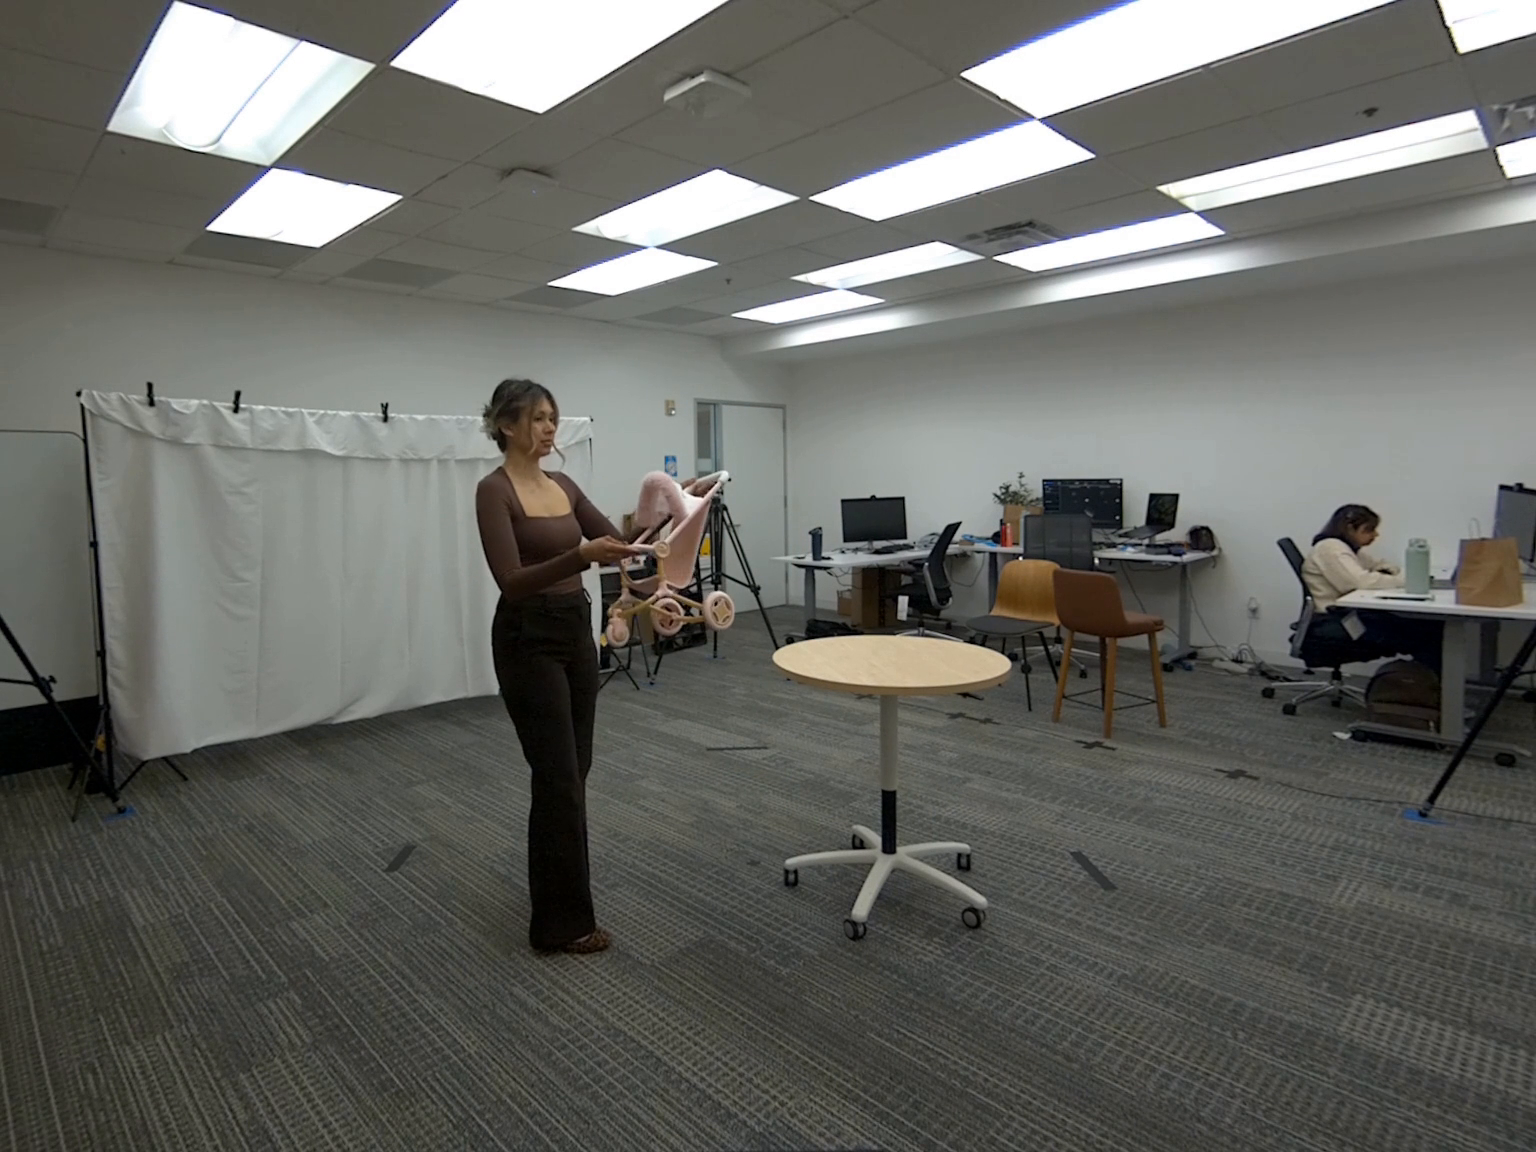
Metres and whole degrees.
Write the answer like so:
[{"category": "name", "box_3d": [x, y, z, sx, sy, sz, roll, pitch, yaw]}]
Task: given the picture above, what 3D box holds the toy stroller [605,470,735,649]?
[{"category": "toy stroller", "box_3d": [-0.297, -0.054, 2.417, 0.331, 0.540, 0.287, 10, -13, -33]}]
